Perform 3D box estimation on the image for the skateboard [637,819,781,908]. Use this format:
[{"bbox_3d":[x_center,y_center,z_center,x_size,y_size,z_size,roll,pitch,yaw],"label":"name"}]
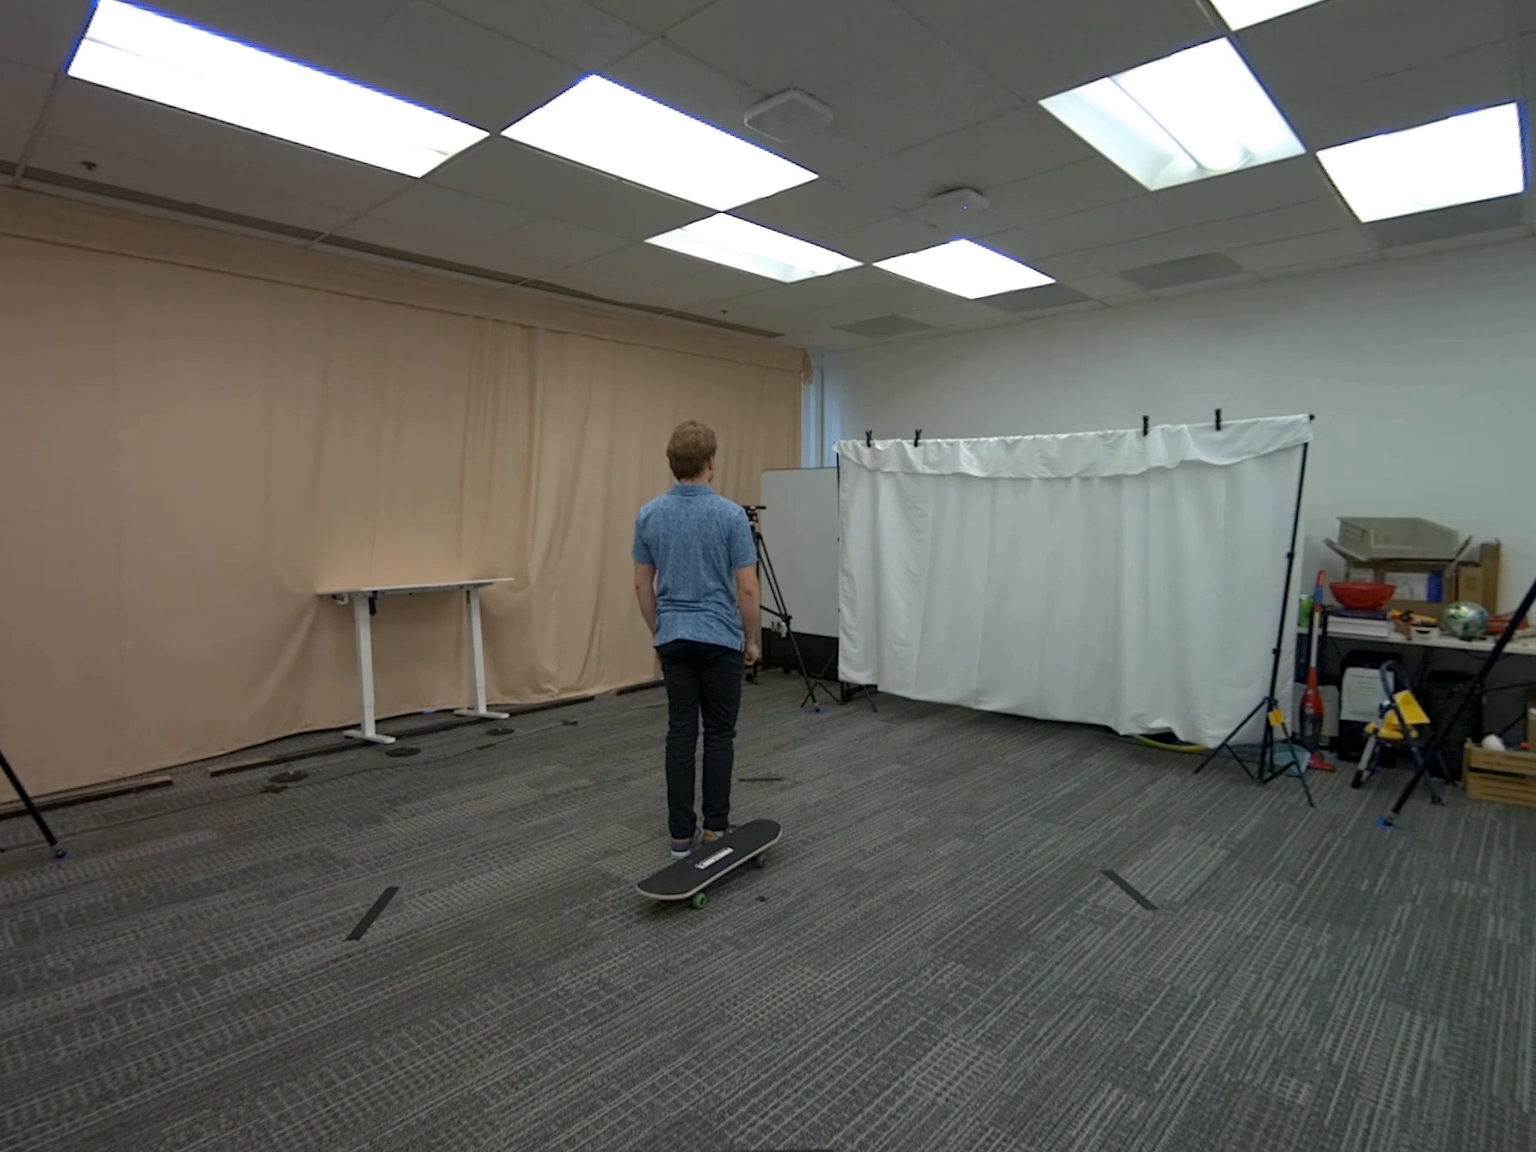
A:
[{"bbox_3d":[-0.196,1.075,3.125,0.199,0.110,0.764,2,5,33],"label":"skateboard"}]
